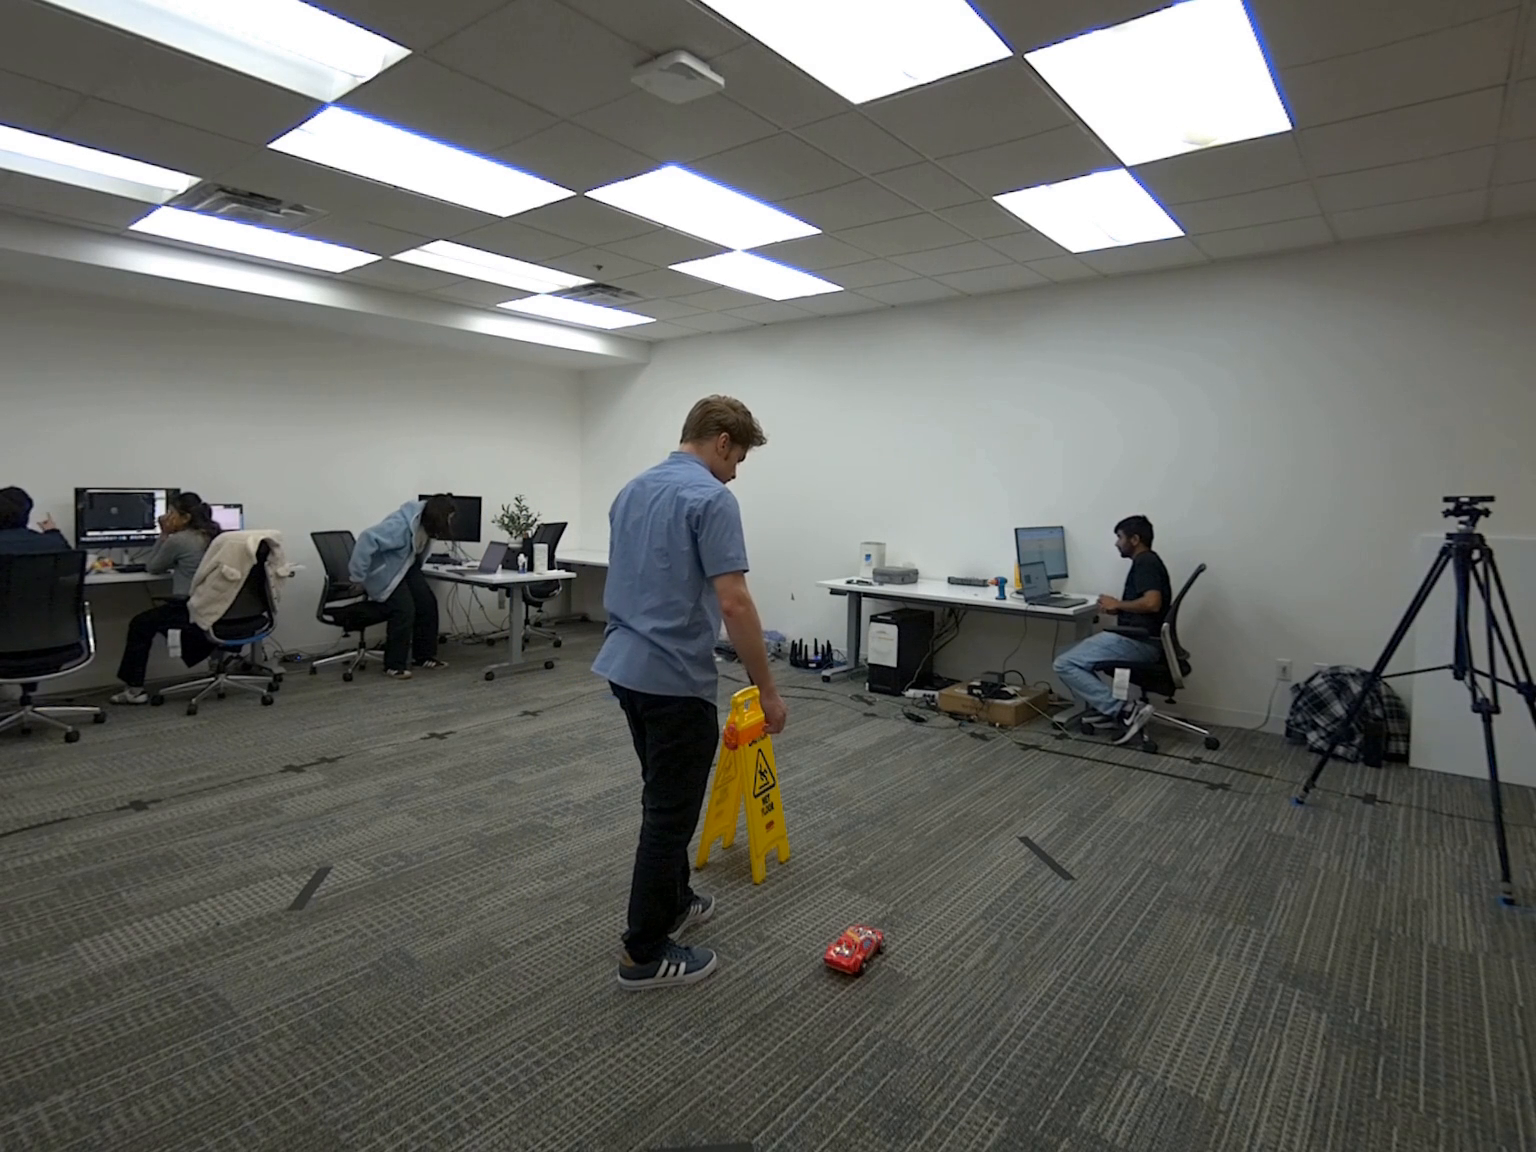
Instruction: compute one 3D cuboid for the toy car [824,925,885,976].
[{"bbox_3d":[0.253,1.108,2.515,0.134,0.083,0.246,4,-5,31],"label":"toy car"}]
